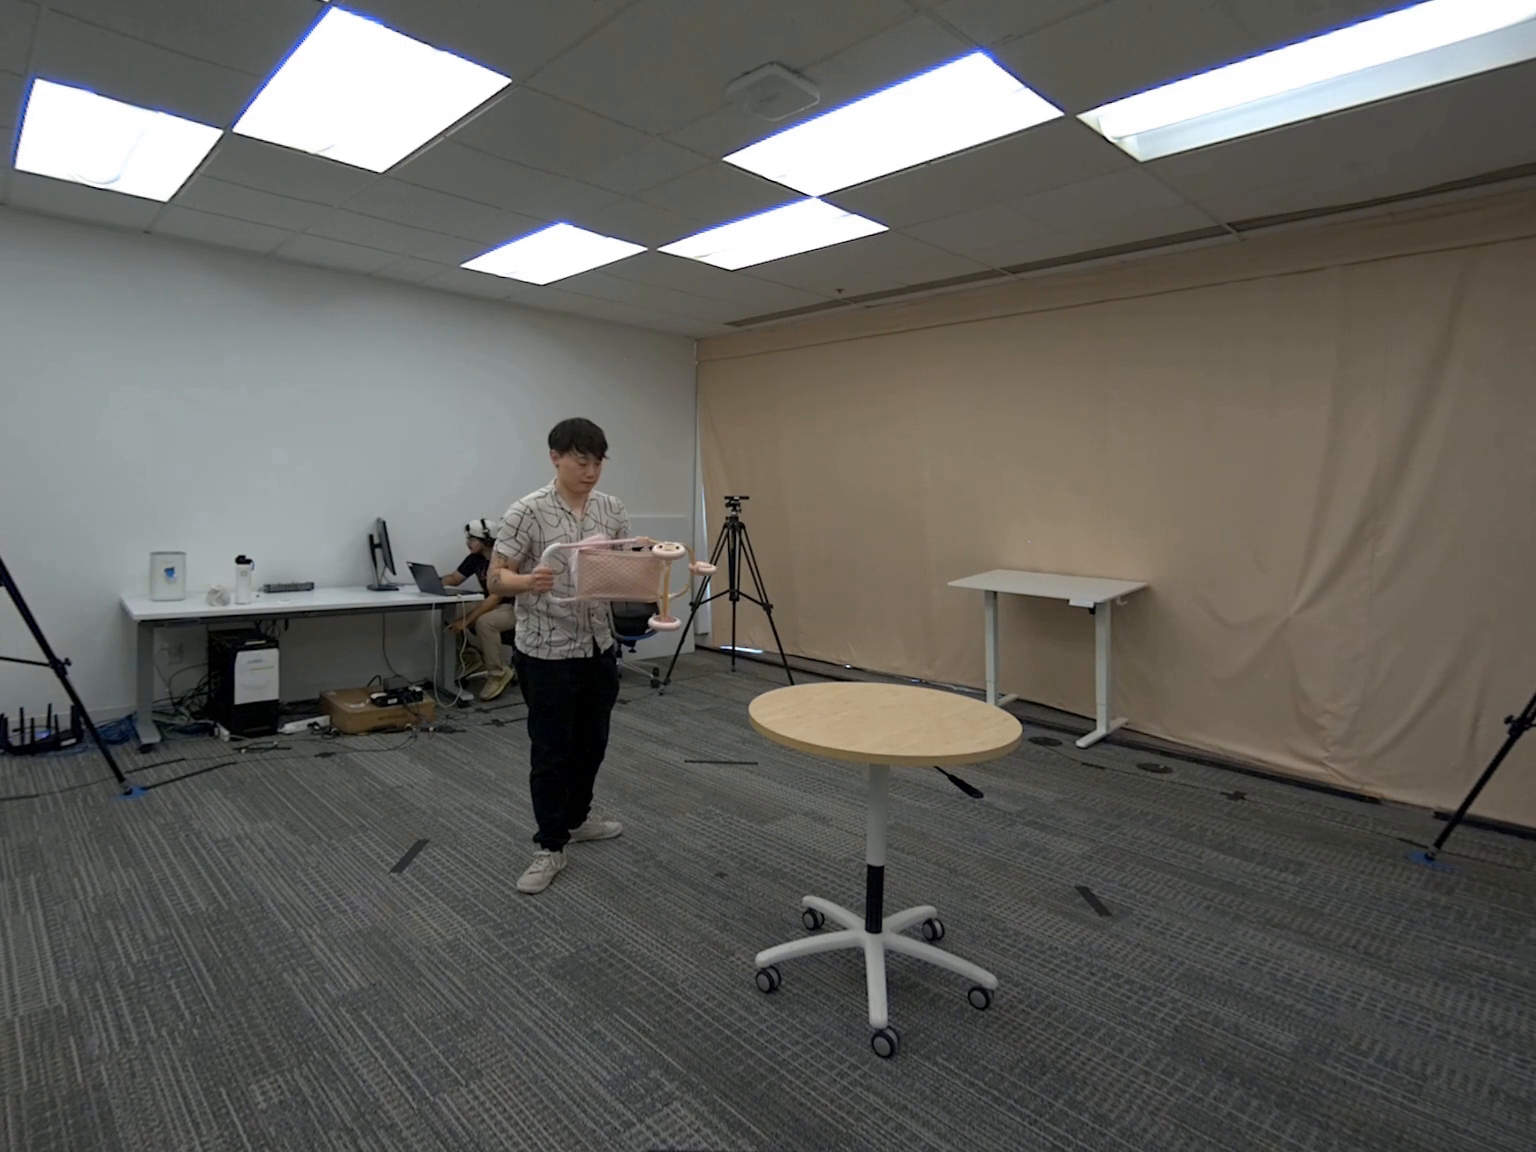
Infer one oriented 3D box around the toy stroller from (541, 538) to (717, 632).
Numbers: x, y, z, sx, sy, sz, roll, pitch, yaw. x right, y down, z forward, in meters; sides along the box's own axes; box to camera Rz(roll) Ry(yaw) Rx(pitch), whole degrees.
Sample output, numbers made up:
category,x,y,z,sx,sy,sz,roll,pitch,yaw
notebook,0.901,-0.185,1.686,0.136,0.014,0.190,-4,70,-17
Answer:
category,x,y,z,sx,sy,sz,roll,pitch,yaw
toy stroller,-0.484,-0.013,2.869,0.539,0.278,0.343,6,20,9
